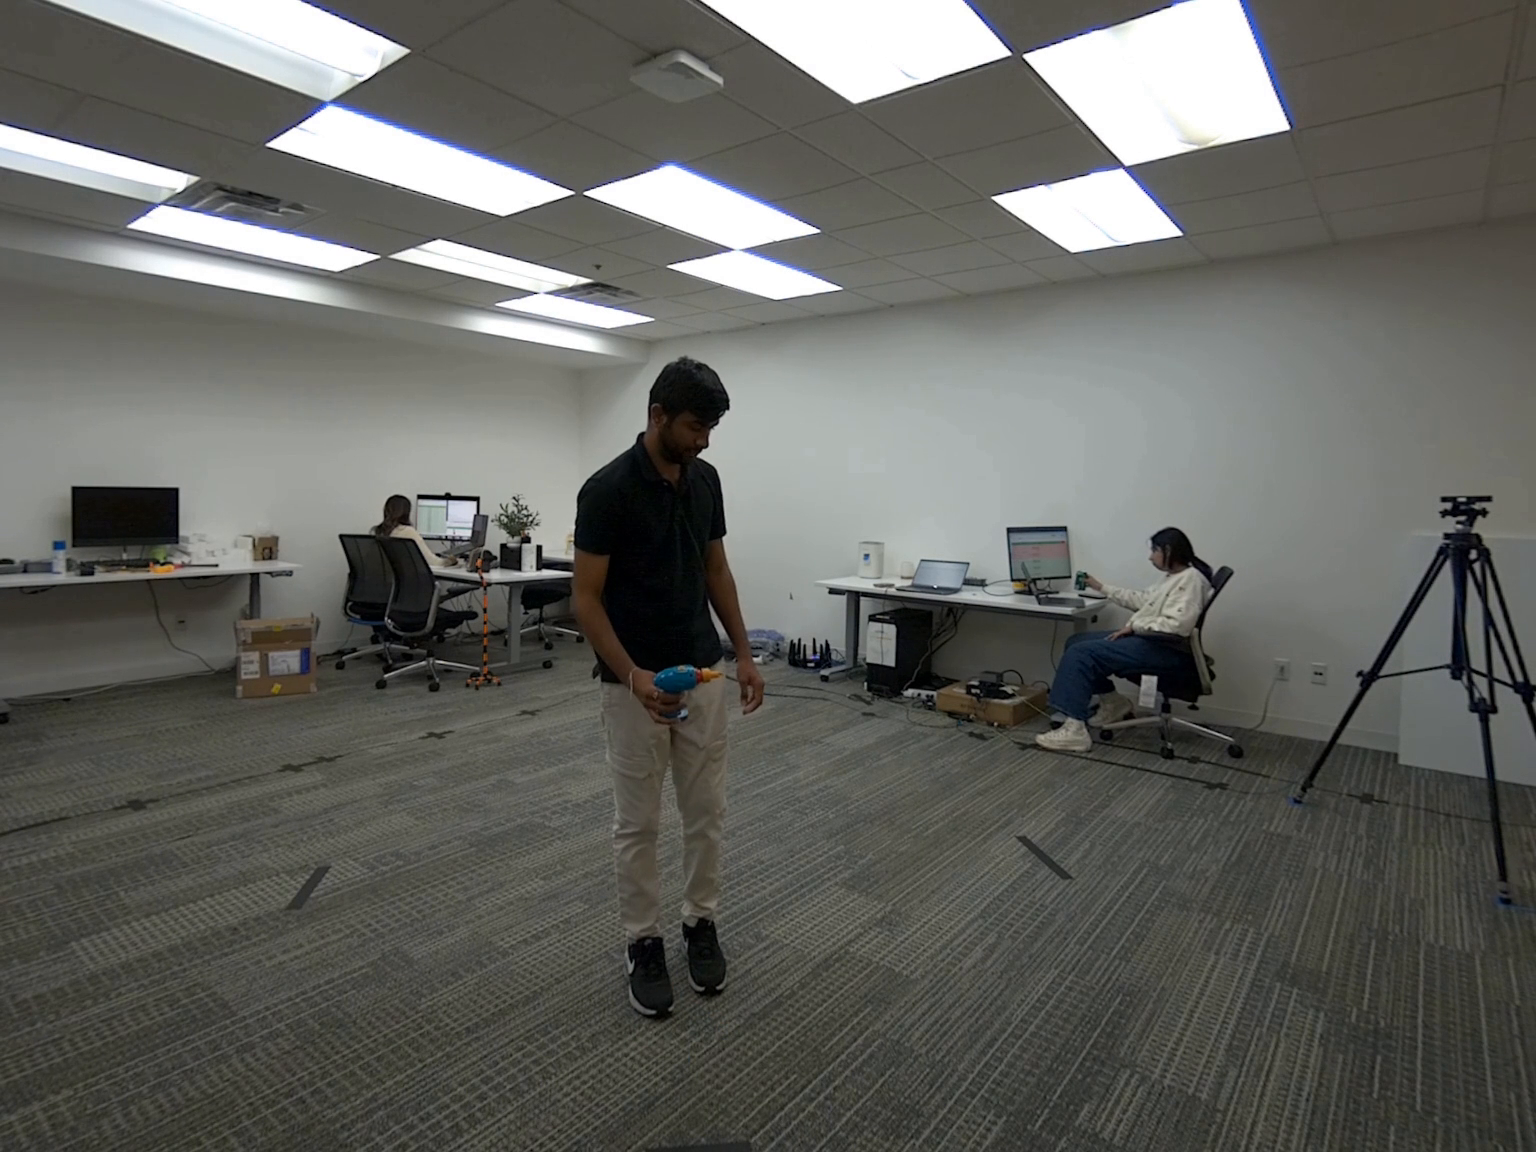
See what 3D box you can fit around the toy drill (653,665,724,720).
[{"bbox_3d":[-0.198,0.276,1.998,0.167,0.143,0.063,-7,26,-14],"label":"toy drill"}]
